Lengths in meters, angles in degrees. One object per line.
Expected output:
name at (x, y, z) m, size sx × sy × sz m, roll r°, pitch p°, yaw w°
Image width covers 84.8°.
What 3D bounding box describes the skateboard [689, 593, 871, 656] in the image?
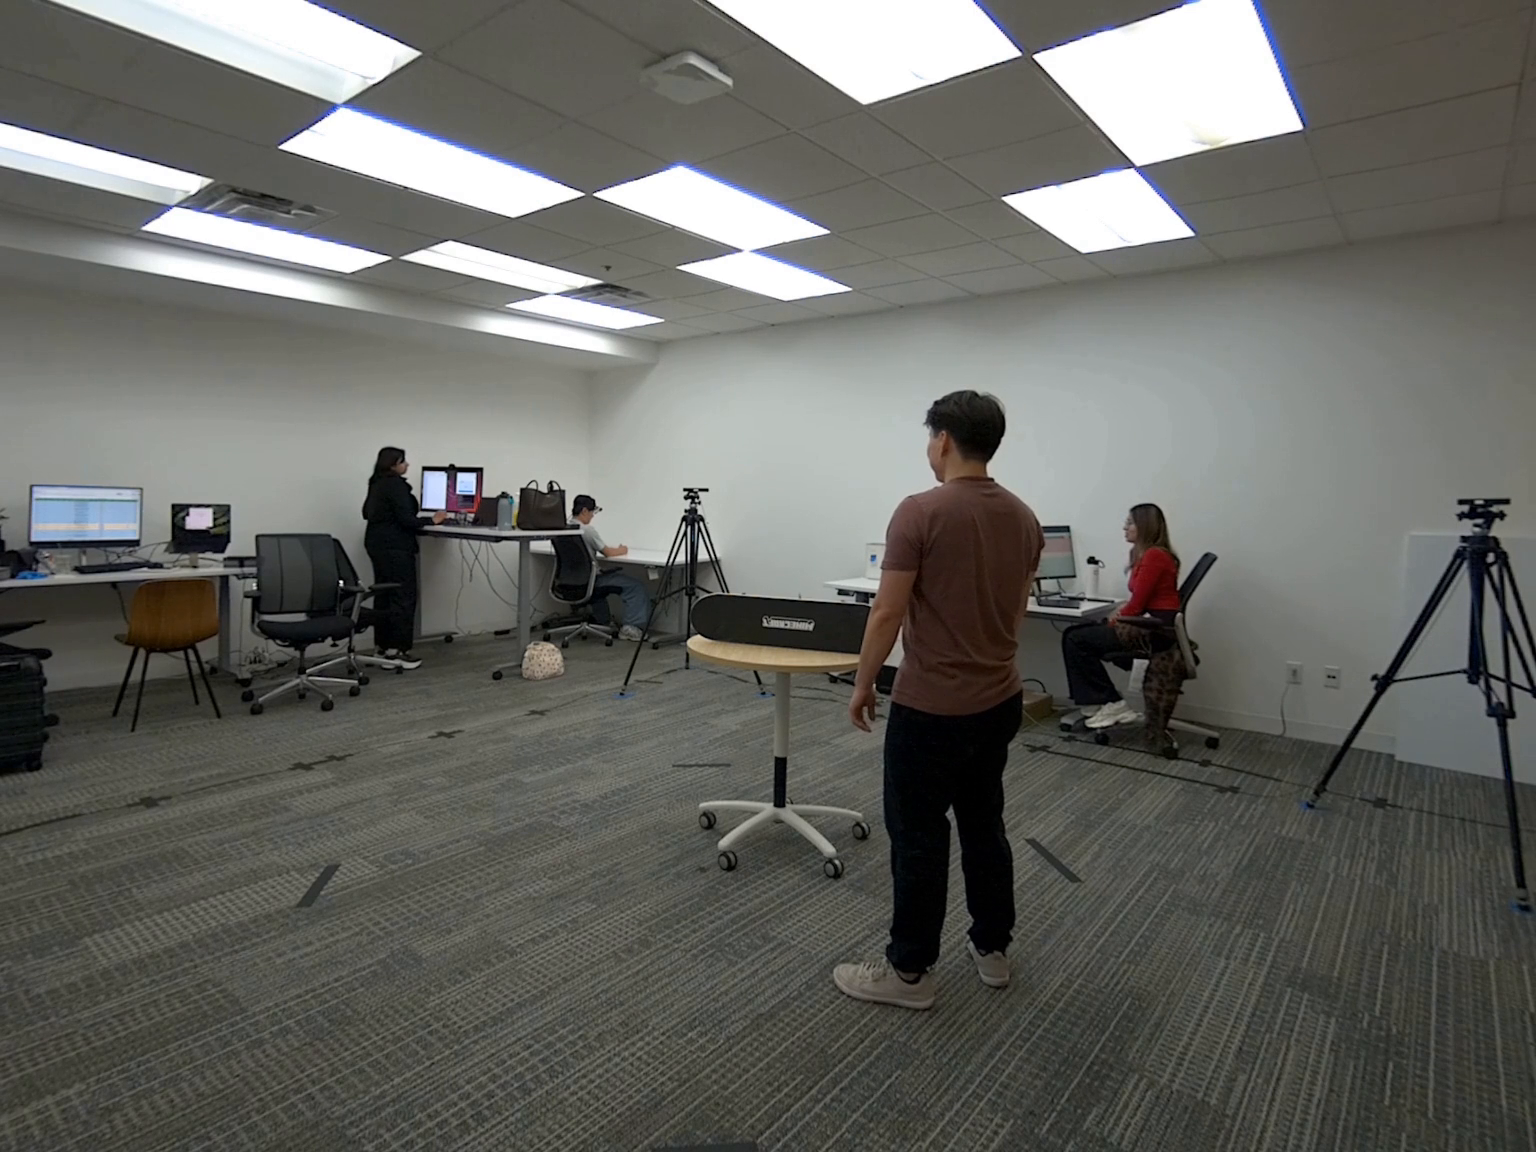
skateboard at (0.066, 0.177, 3.294) m, size 0.802 × 0.193 × 0.108 m, roll 4°, pitch 3°, yaw 20°
